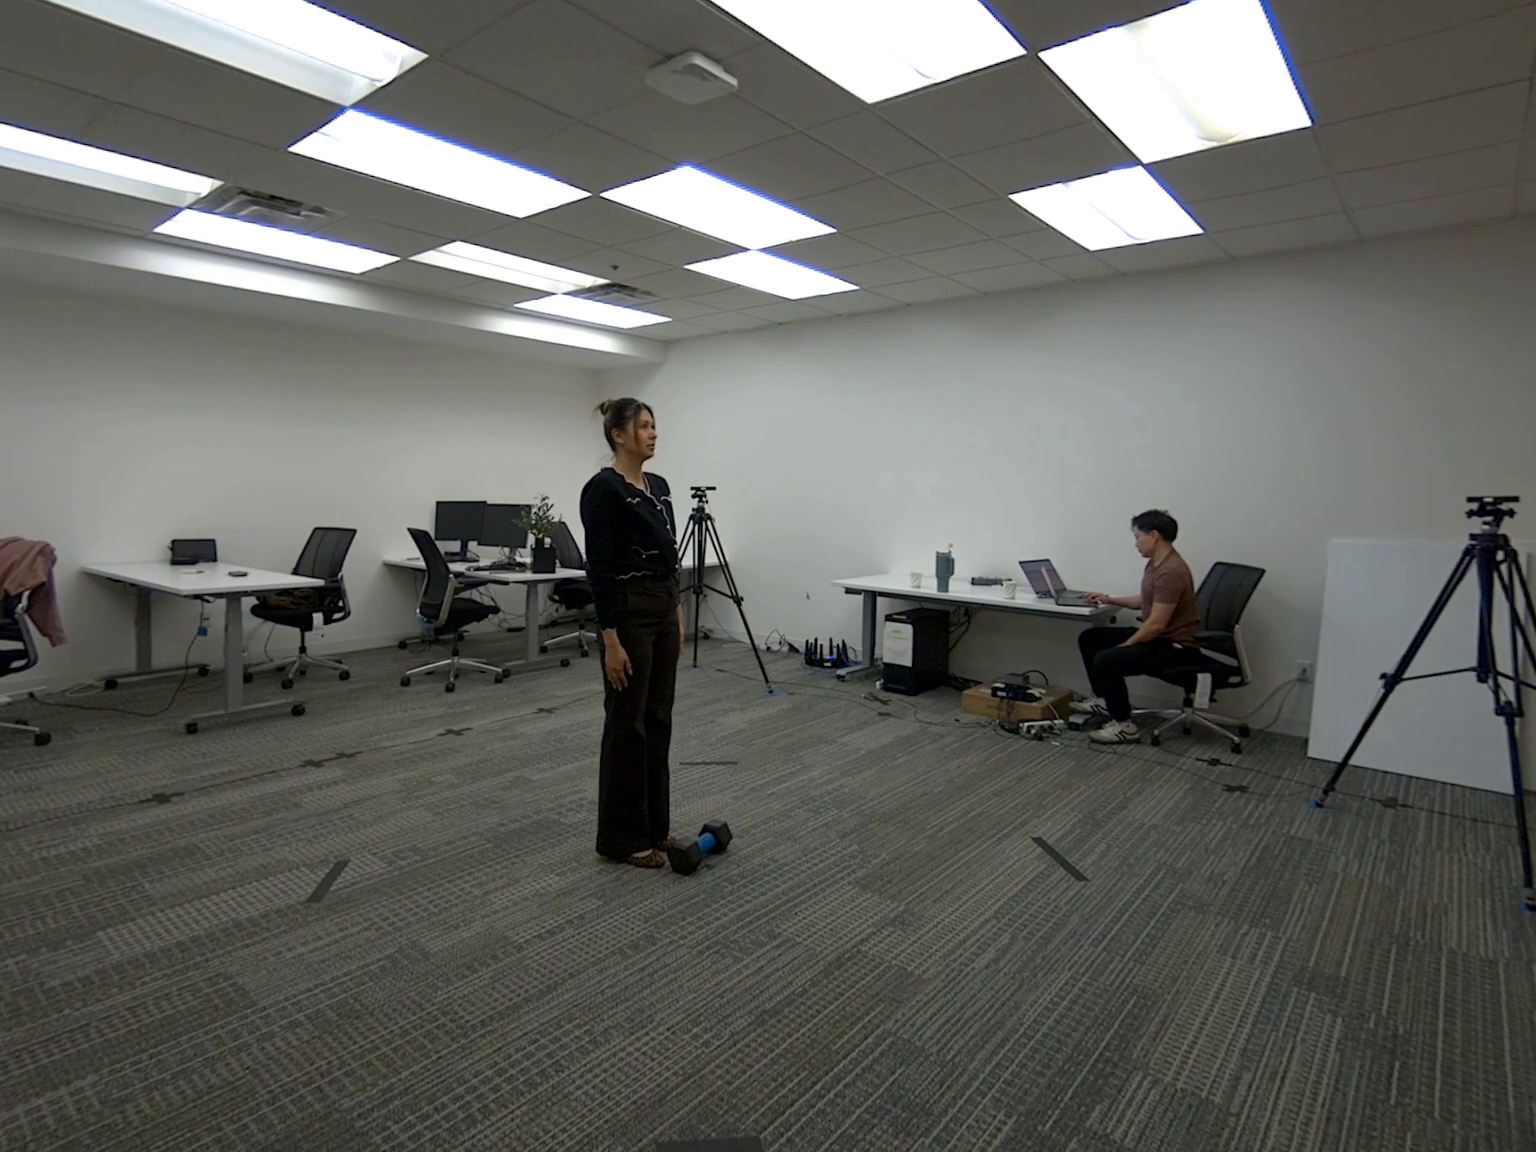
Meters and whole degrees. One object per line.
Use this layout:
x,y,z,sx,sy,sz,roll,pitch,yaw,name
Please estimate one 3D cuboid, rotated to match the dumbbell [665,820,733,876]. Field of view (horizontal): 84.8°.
-0.262,1.009,3.167,0.126,0.108,0.286,5,7,29,dumbbell
